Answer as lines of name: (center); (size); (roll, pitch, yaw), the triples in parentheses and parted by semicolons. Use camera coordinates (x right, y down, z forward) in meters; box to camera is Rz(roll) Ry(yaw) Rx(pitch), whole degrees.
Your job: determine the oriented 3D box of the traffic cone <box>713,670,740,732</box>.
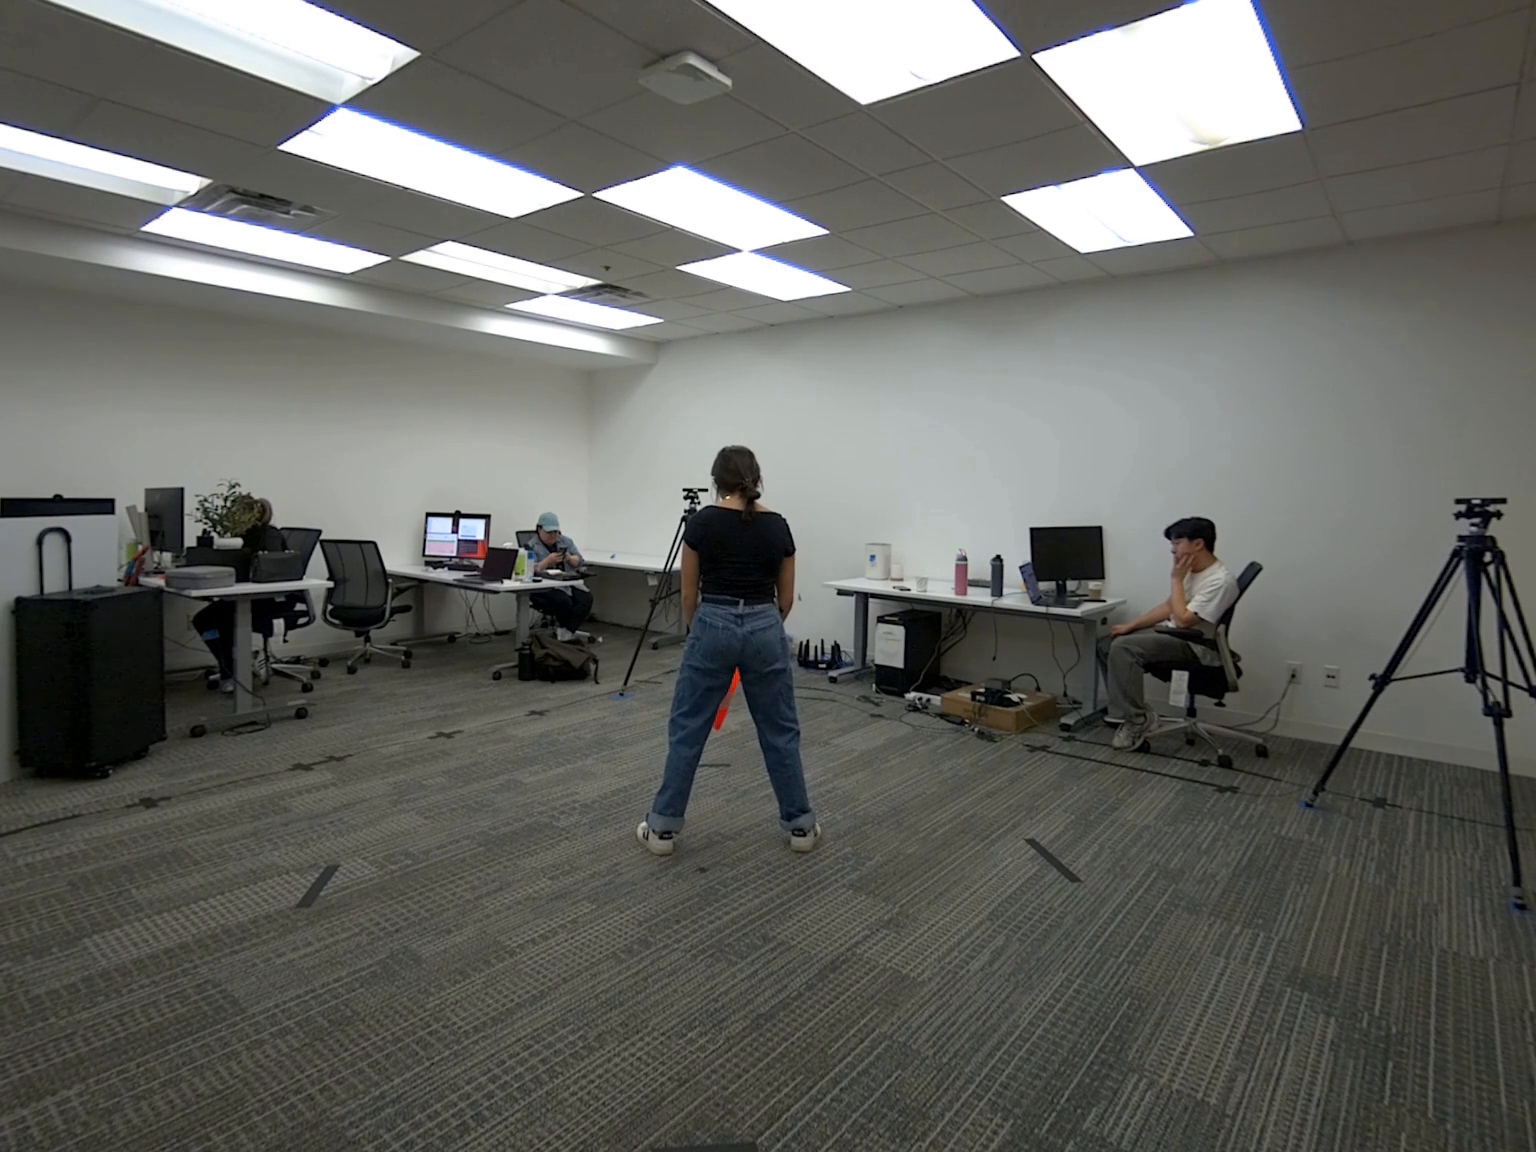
traffic cone: (-0.184, 0.470, 3.550); (0.203, 0.377, 0.209); (10, 23, -3)
